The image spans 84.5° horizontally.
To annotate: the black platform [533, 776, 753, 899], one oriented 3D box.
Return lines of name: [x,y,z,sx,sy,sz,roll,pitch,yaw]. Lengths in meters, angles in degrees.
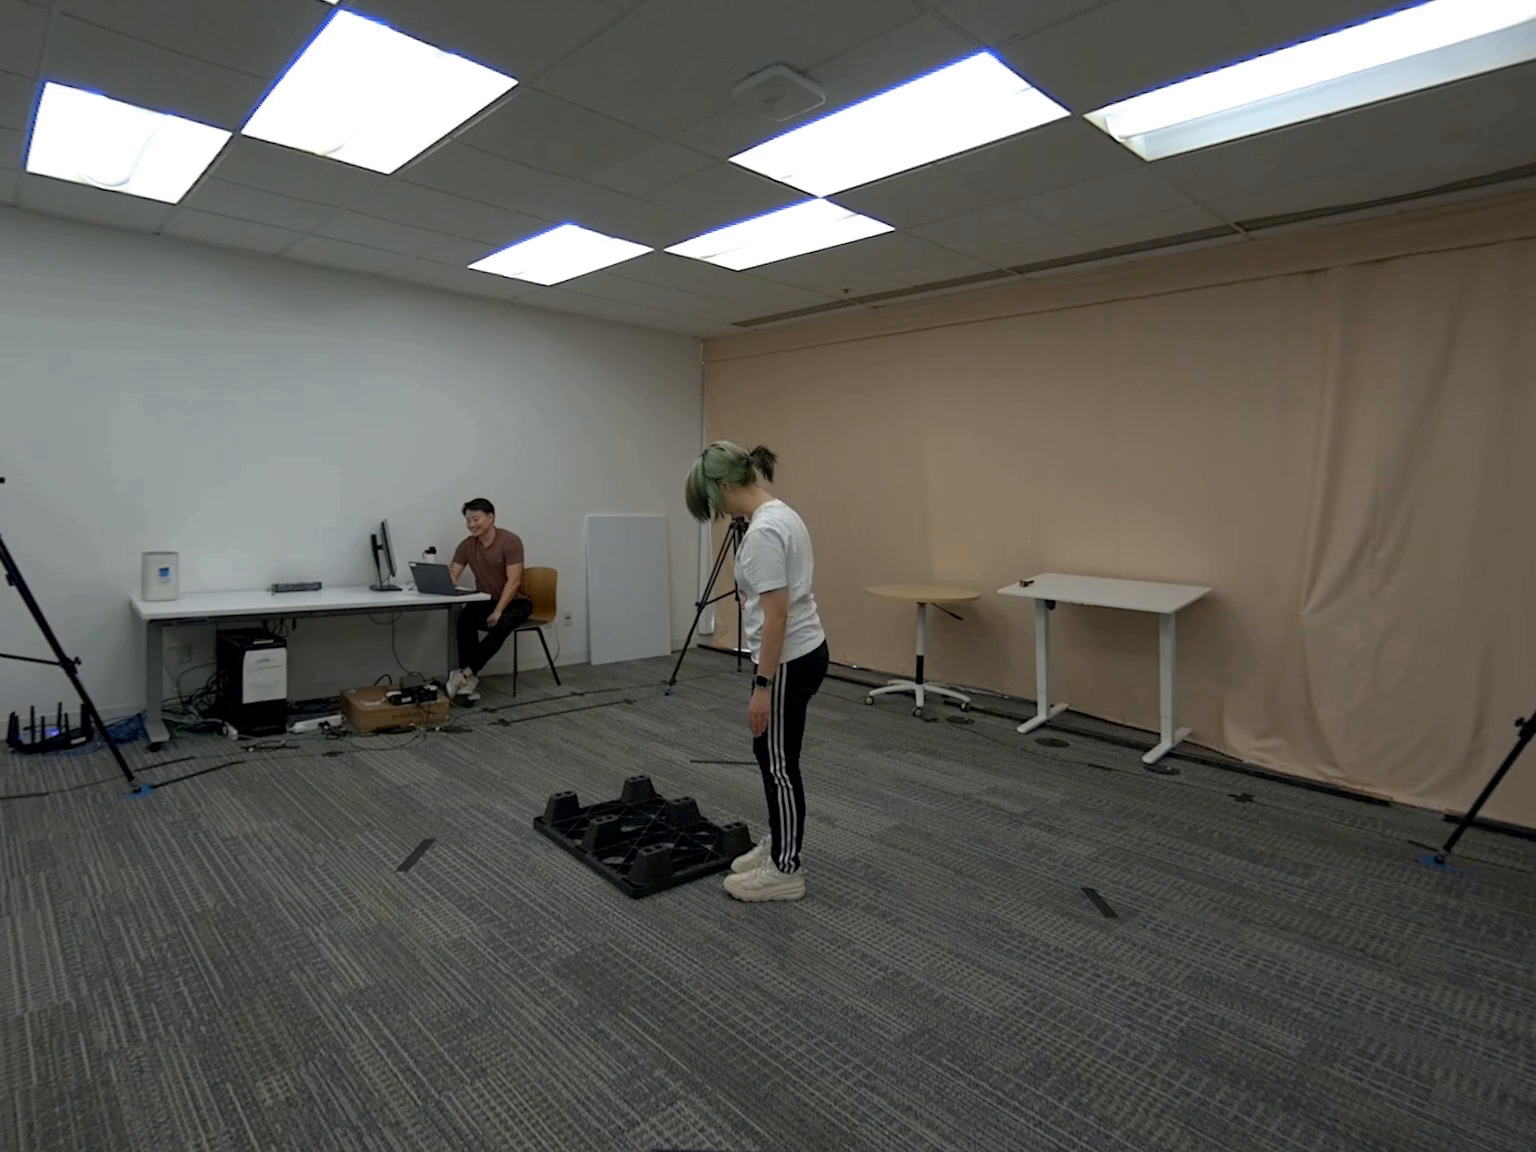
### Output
black platform: [-0.496,1.007,3.382,0.592,0.143,0.826,-4,8,-40]
